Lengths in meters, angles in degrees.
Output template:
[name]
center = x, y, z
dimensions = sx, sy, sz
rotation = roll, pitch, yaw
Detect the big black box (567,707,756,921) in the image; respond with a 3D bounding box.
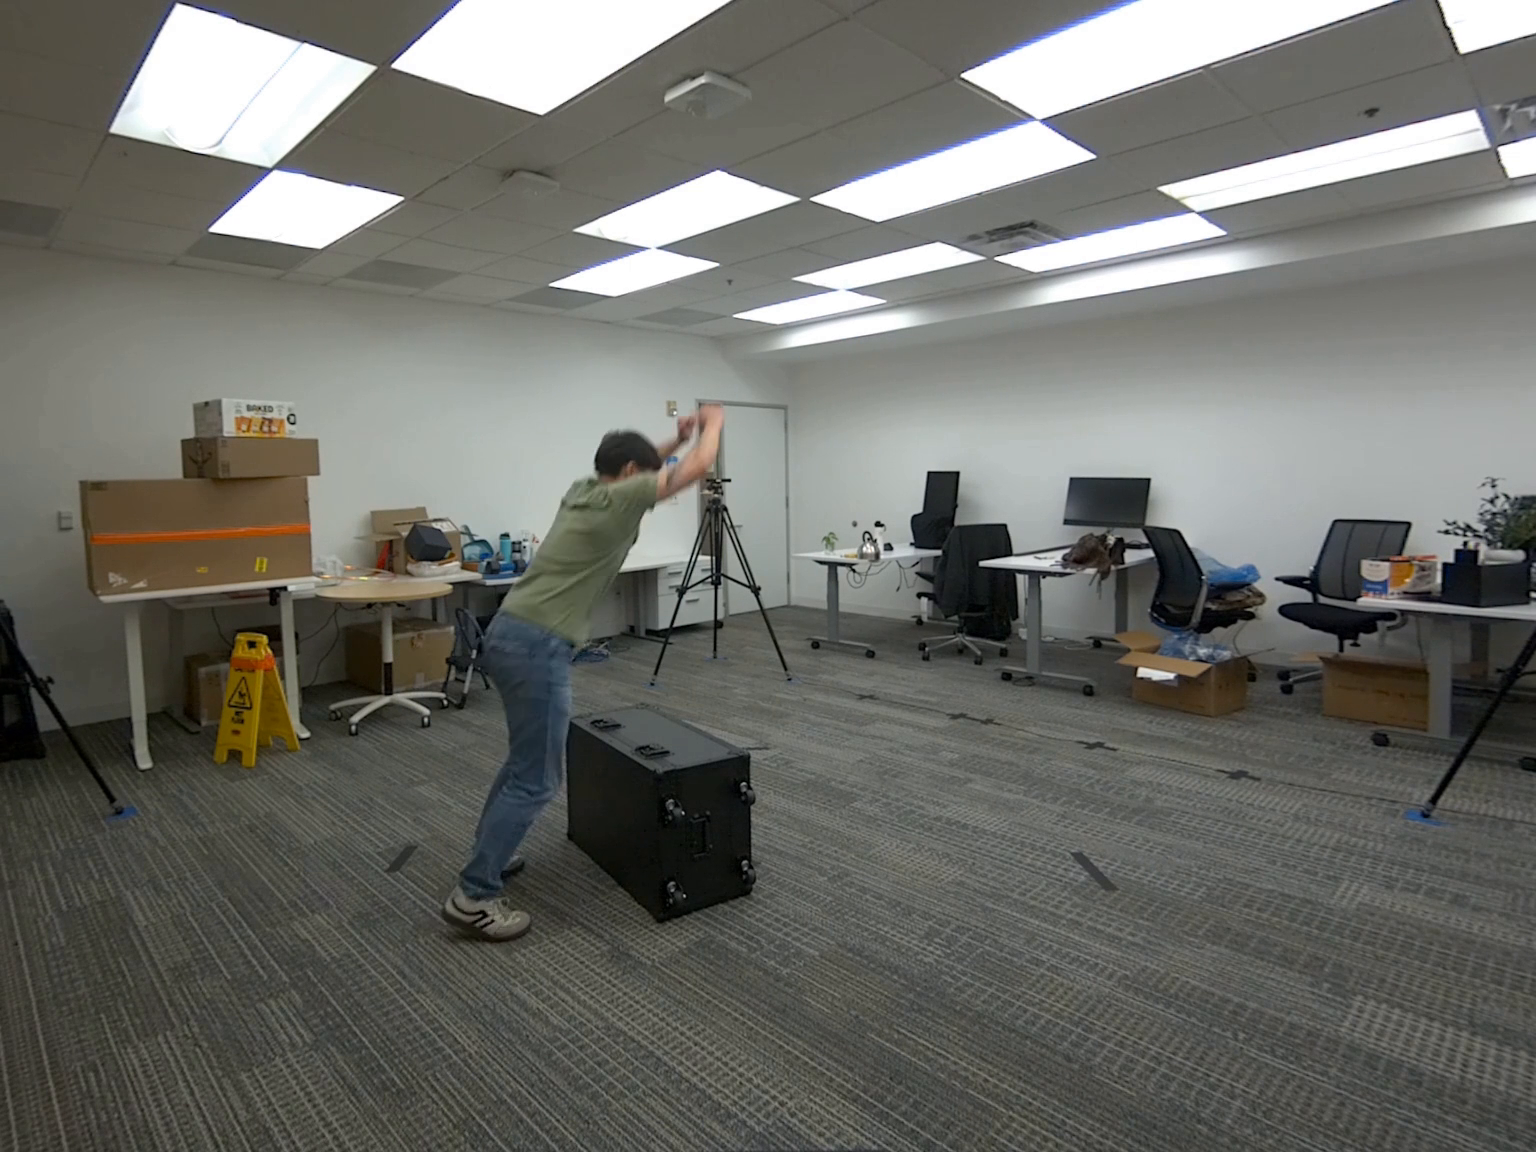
[big black box]
center = -0.392, 0.813, 3.077
dimensions = 0.387, 0.519, 0.887
rotation = -4, 7, -33
